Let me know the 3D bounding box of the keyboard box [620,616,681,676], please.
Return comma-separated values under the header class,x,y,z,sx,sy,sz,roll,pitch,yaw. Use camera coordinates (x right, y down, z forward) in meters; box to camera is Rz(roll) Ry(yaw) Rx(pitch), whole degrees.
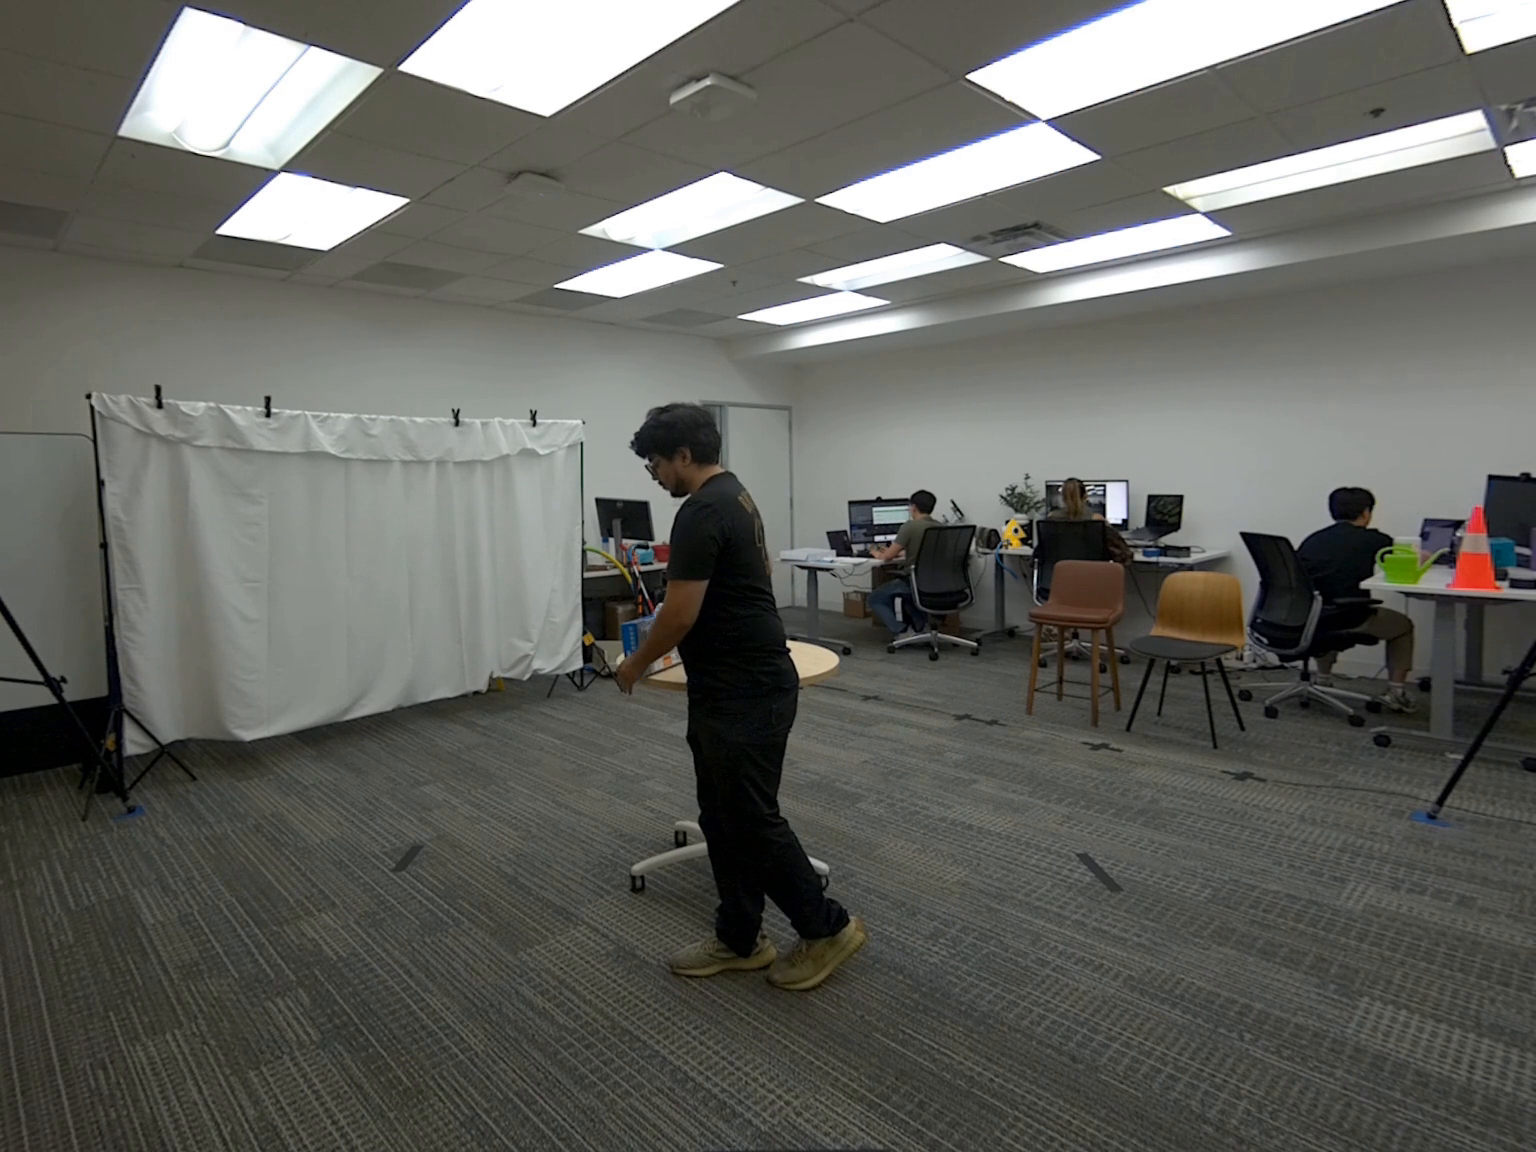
class,x,y,z,sx,sy,sz,roll,pitch,yaw
keyboard box,-0.330,0.211,2.836,0.060,0.176,0.429,-7,3,24
